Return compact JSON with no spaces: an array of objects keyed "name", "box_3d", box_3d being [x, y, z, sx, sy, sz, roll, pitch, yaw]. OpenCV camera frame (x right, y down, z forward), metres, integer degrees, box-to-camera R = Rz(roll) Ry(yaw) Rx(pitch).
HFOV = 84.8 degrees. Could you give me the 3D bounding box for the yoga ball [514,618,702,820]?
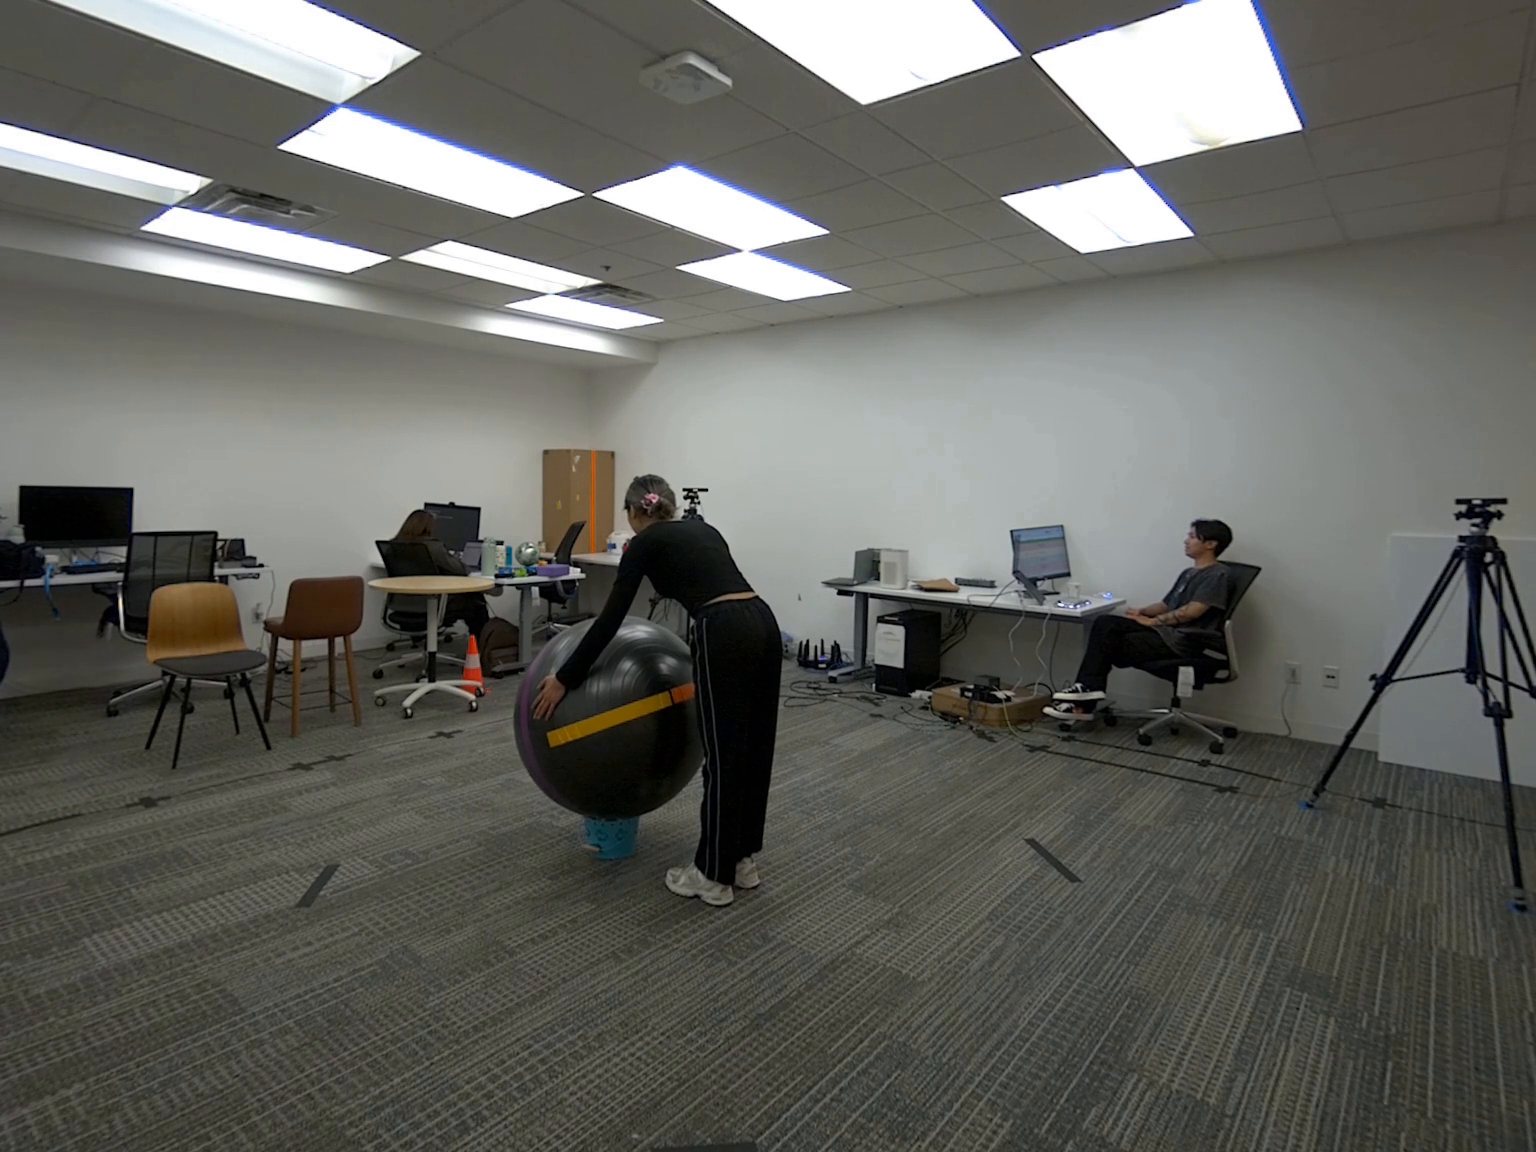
[{"name":"yoga ball","box_3d":[-0.597,0.525,3.242,0.757,0.755,0.762,1,4,-2]}]
